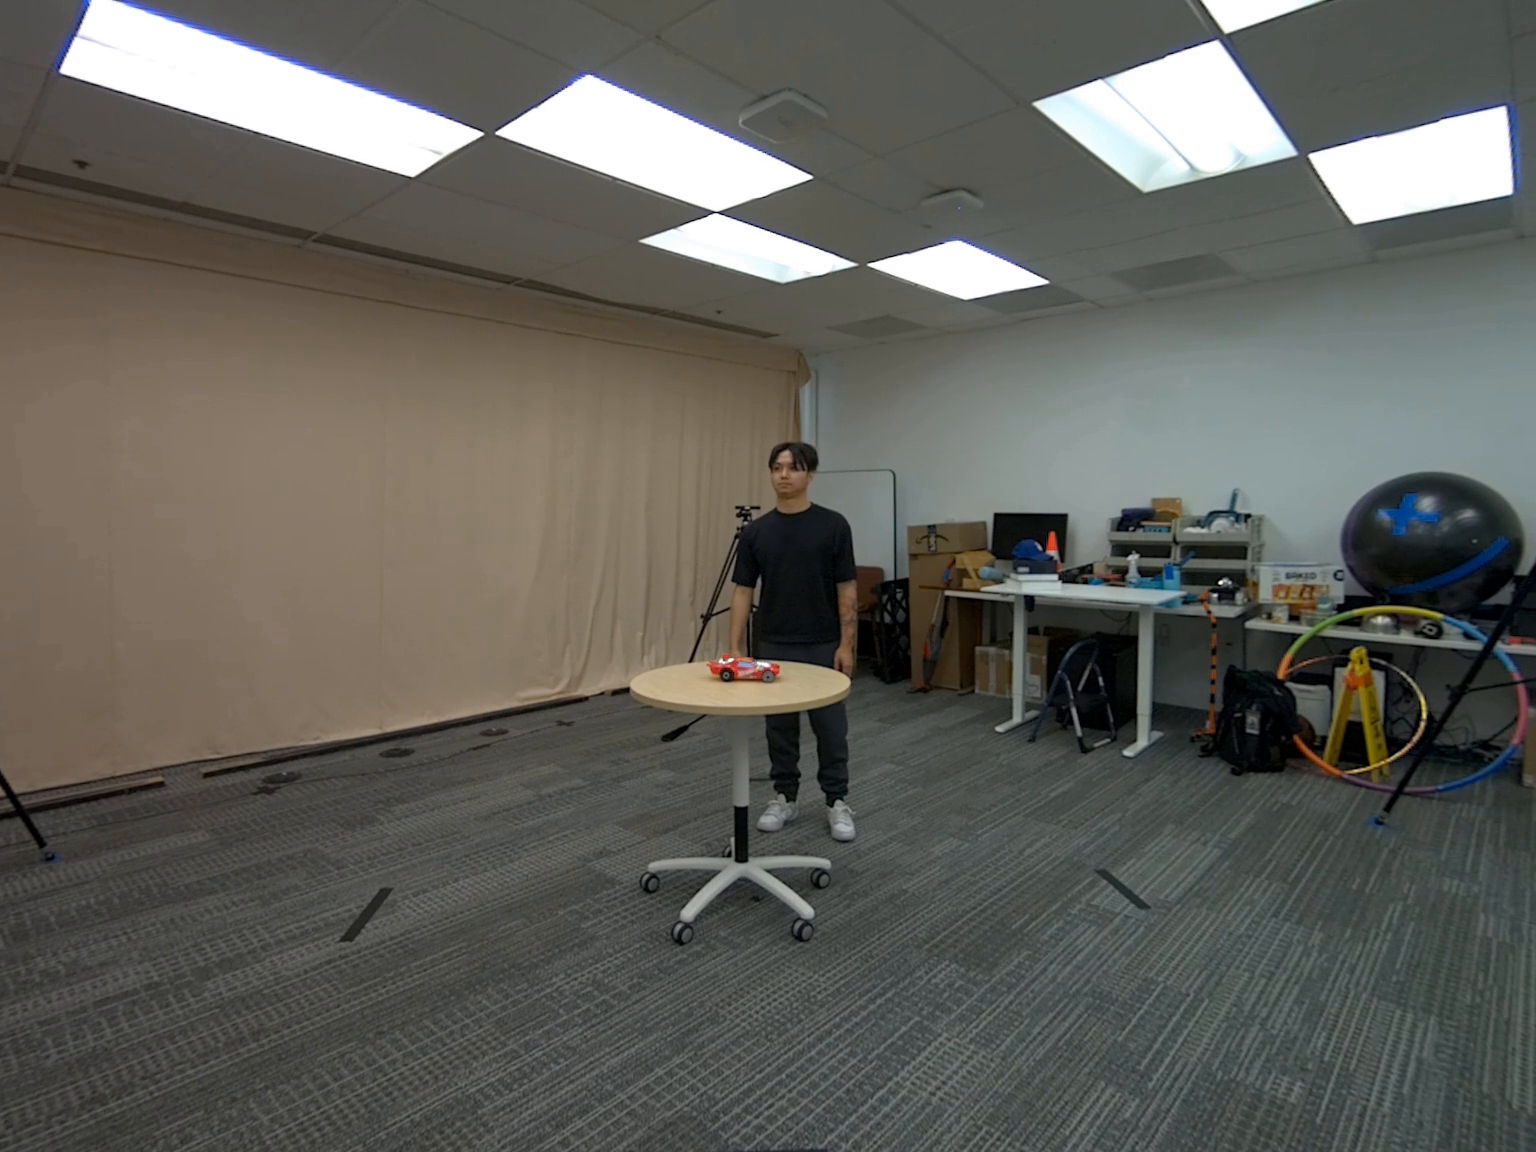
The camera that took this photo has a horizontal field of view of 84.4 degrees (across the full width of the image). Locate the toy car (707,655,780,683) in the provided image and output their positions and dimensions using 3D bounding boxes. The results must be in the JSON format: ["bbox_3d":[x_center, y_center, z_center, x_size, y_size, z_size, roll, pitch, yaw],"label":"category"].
[{"bbox_3d":[-0.087,0.329,2.961,0.257,0.083,0.129,11,6,7],"label":"toy car"}]
